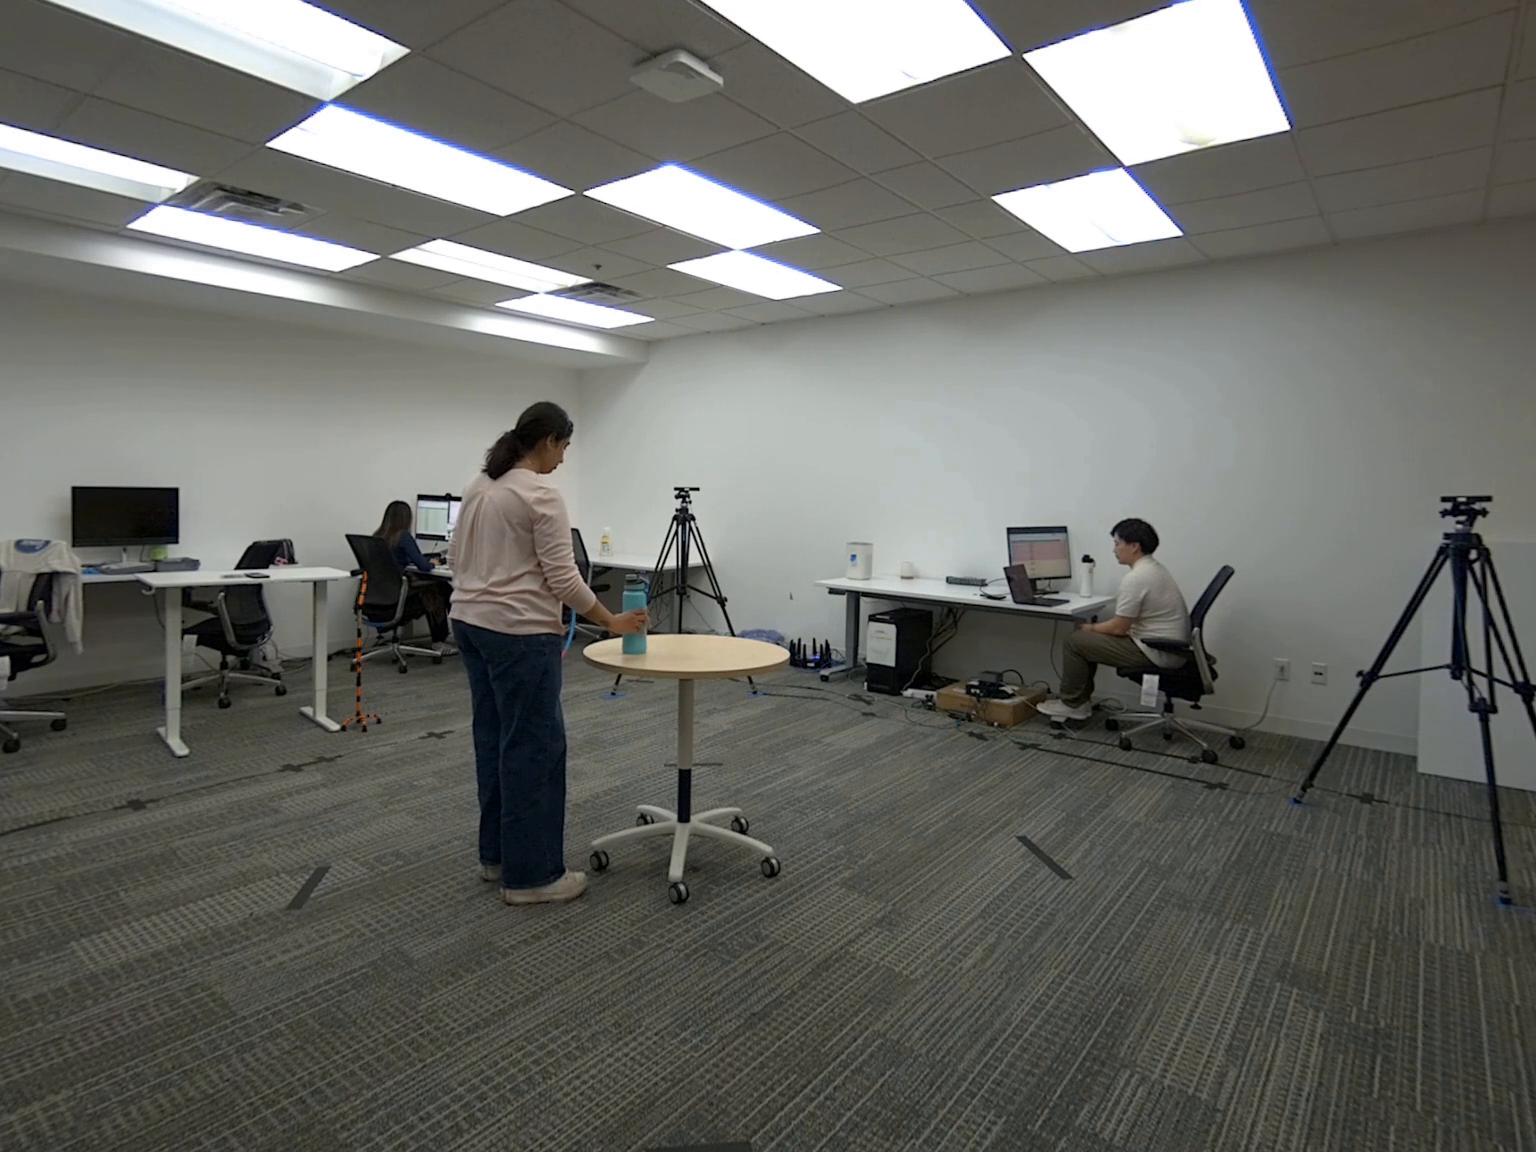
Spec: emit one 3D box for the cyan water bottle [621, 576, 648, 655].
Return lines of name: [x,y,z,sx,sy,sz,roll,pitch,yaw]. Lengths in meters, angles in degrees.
cyan water bottle: [-0.500,0.140,3.107,0.092,0.283,0.092,1,2,-2]
